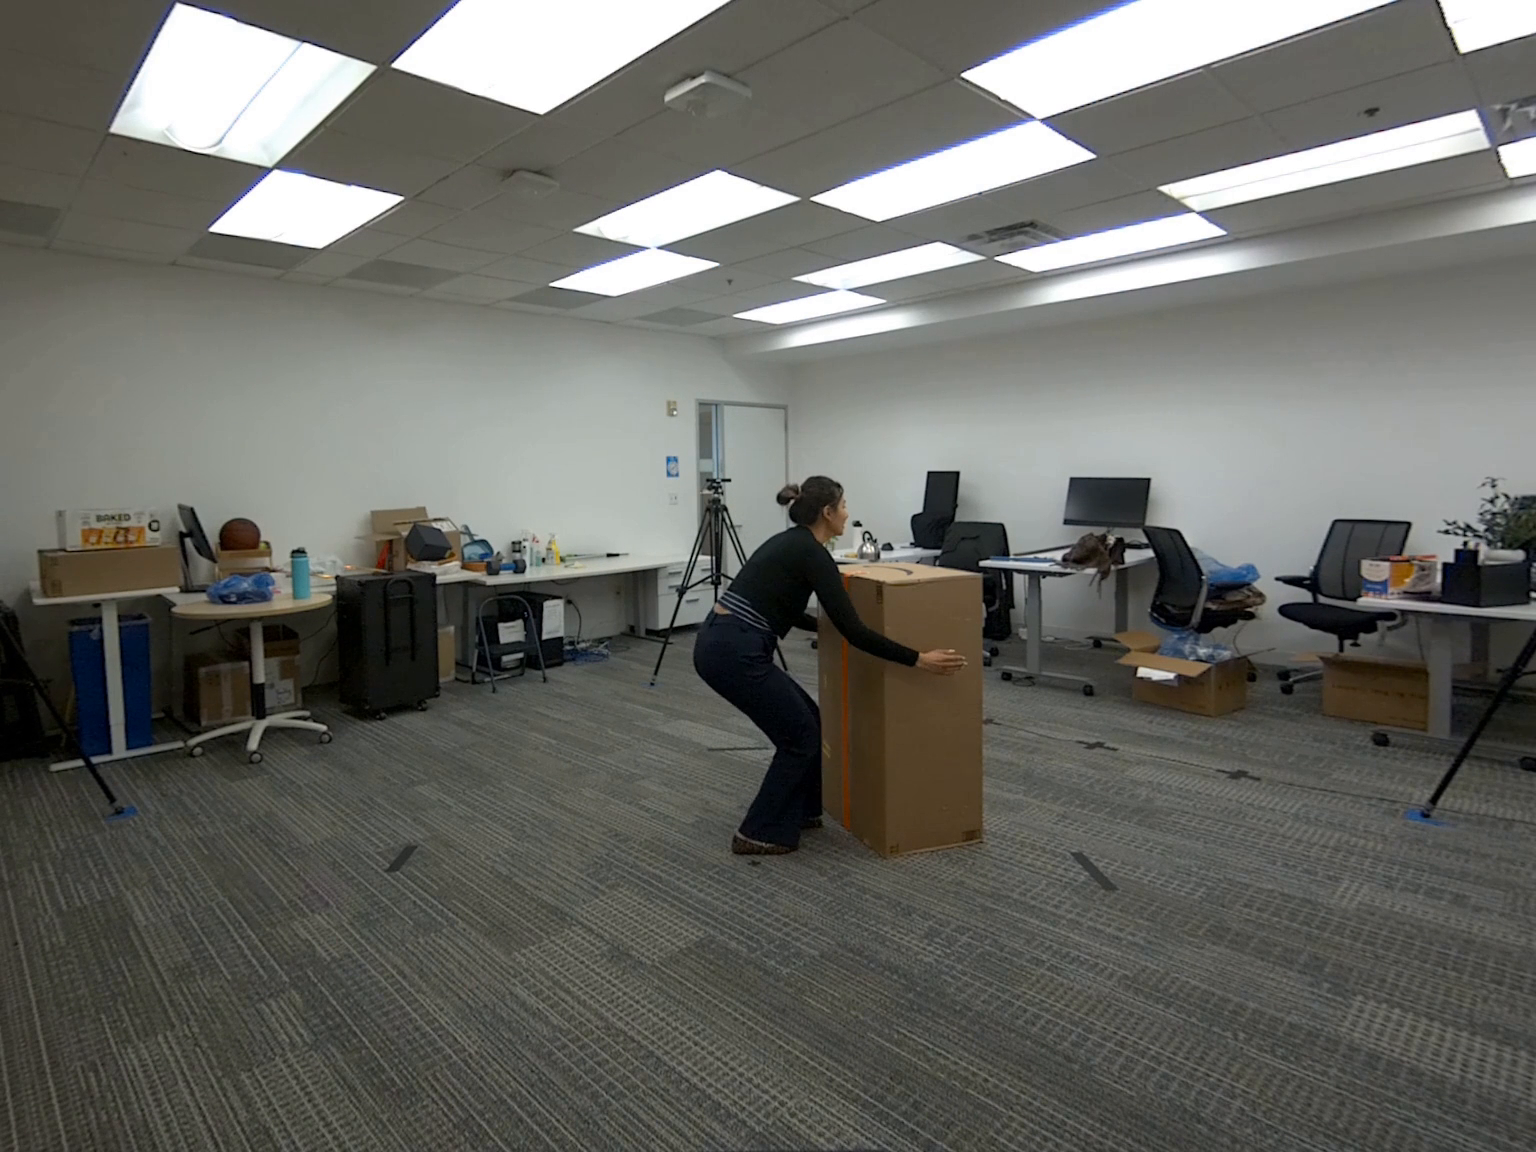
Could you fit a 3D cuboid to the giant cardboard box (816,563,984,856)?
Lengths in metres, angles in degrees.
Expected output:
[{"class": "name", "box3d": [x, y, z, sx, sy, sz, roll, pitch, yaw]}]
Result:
[{"class": "giant cardboard box", "box3d": [0.509, 0.489, 3.418, 0.419, 1.022, 0.590, -2, 4, -20]}]
